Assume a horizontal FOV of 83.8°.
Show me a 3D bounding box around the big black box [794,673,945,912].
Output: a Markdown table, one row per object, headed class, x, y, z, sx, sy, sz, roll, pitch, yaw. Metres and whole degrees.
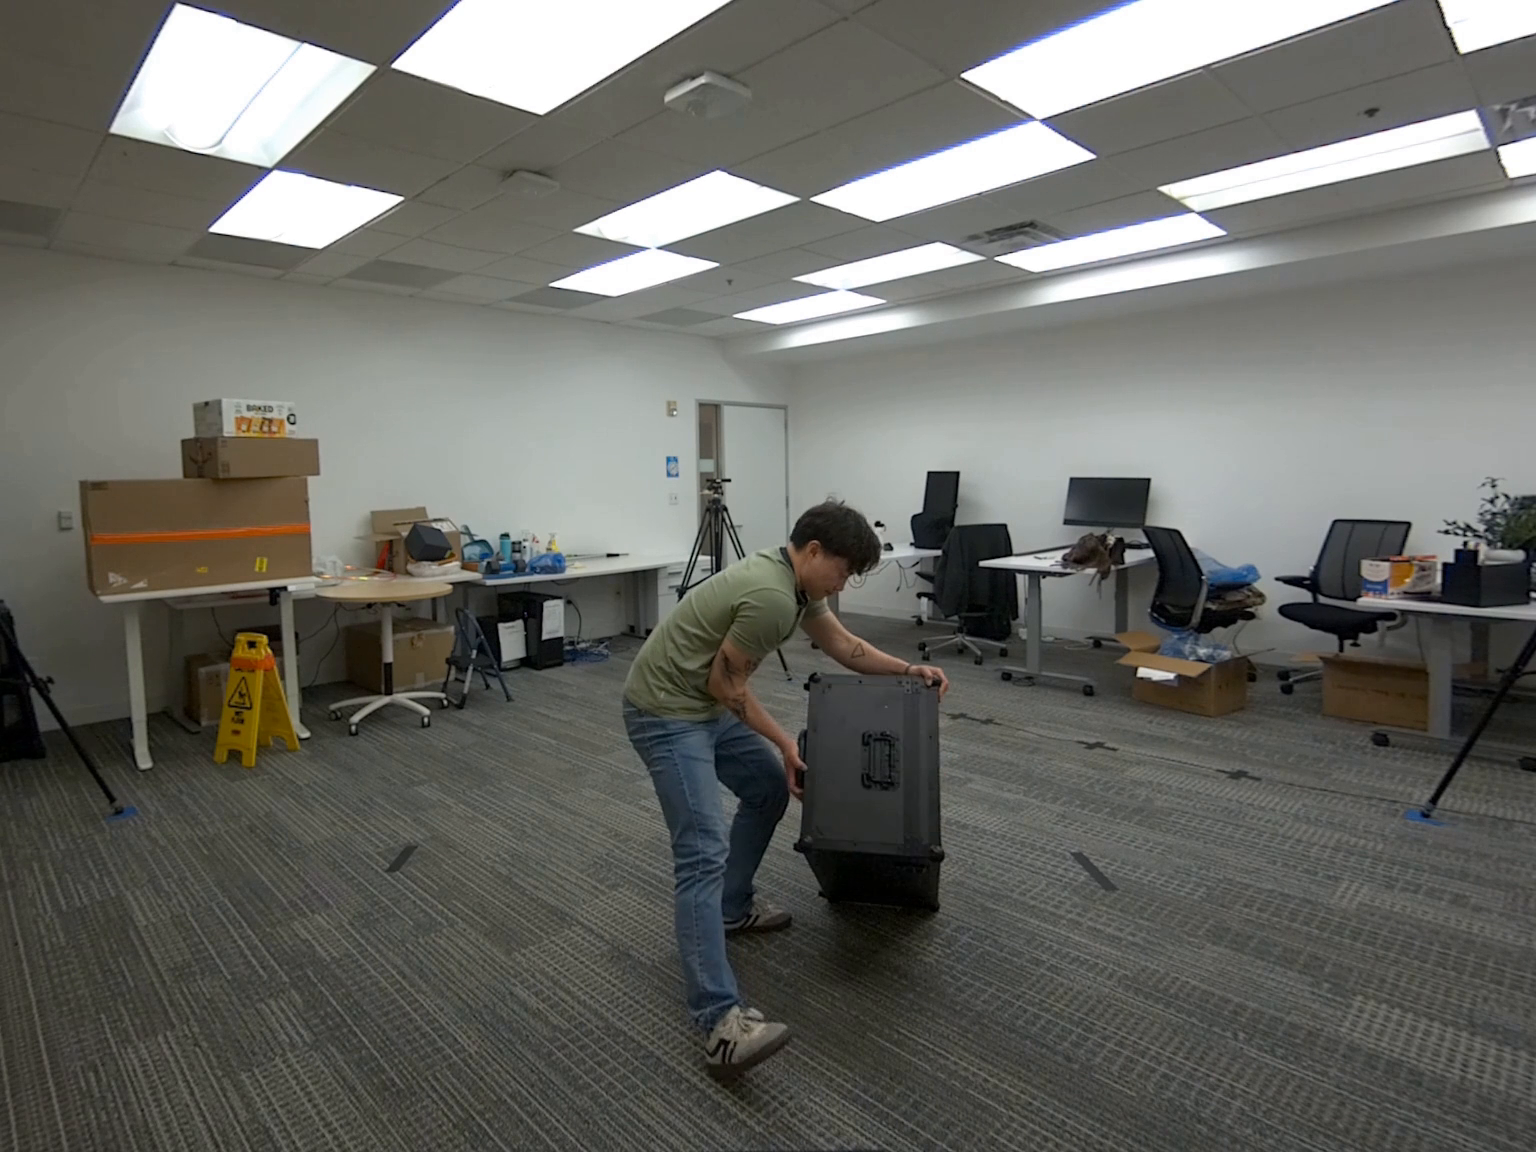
| class | x | y | z | sx | sy | sz | roll | pitch | yaw |
| --- | --- | --- | --- | --- | --- | --- | --- | --- | --- |
| big black box | 0.330 | 0.669 | 2.575 | 0.400 | 0.532 | 0.835 | 0 | -30 | 9 |
